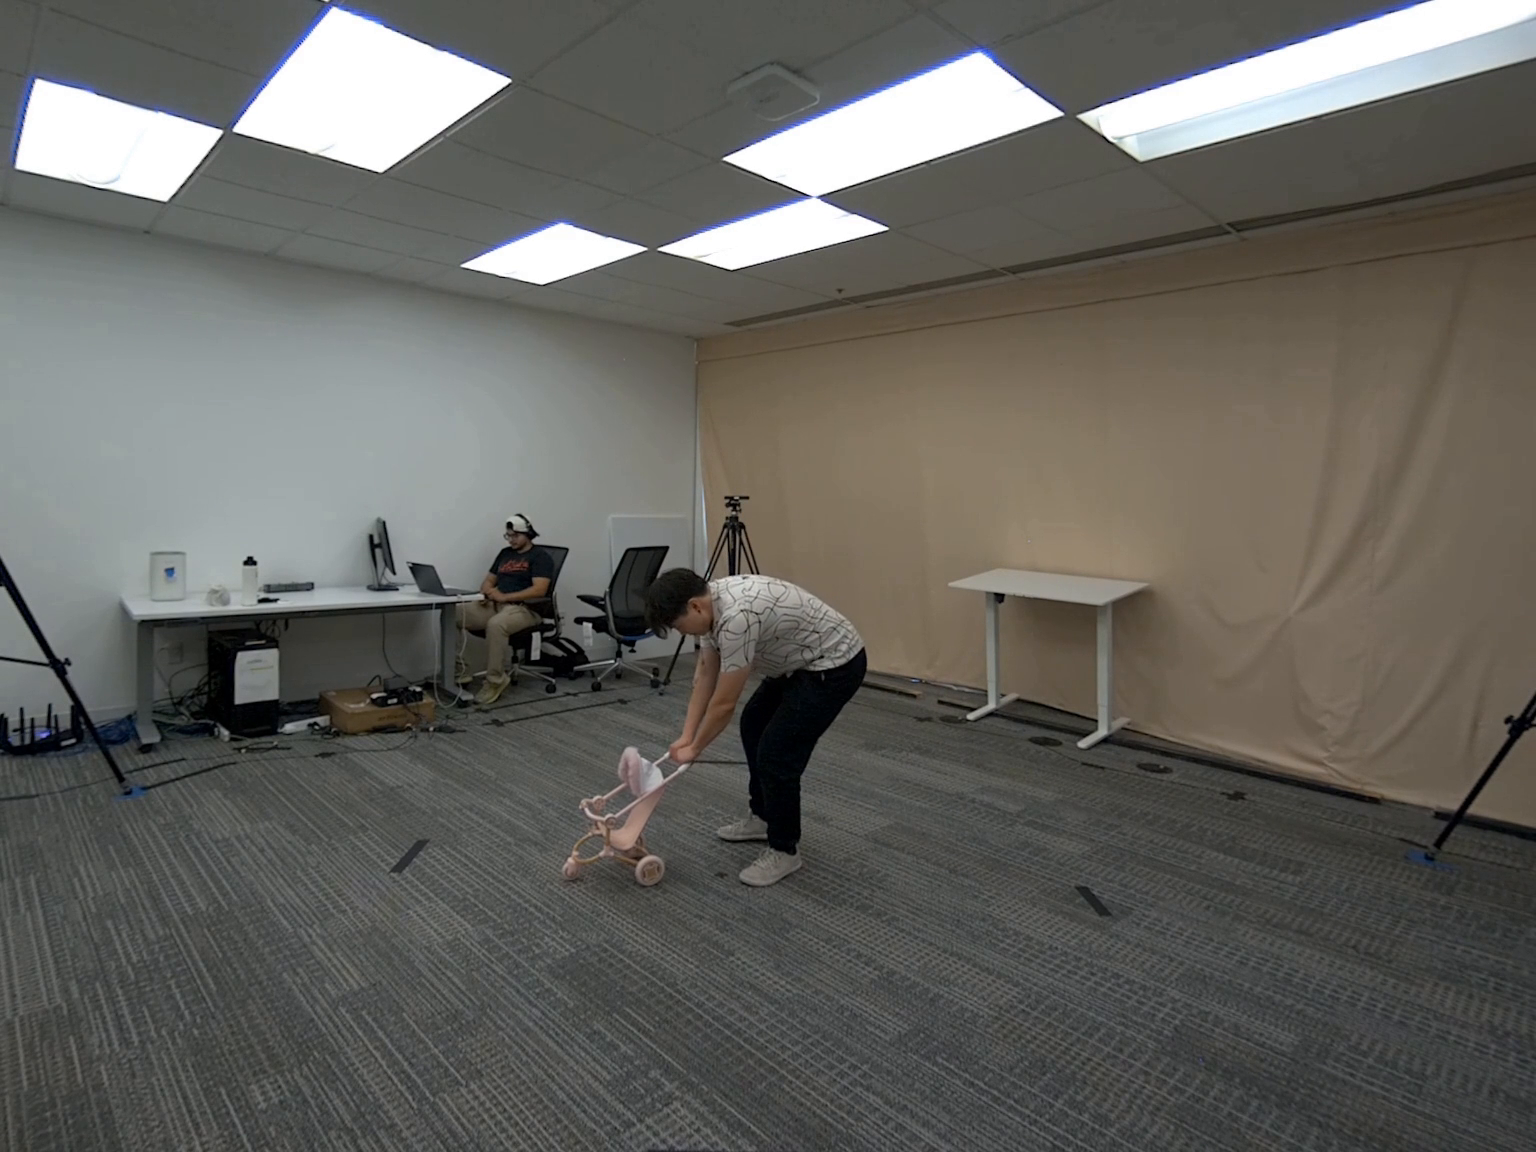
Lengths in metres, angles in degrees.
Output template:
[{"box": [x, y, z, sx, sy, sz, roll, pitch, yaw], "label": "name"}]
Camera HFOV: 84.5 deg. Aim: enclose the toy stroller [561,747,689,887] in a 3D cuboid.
[{"box": [-0.528, 0.871, 3.086, 0.335, 0.535, 0.286, 17, -2, -19], "label": "toy stroller"}]
